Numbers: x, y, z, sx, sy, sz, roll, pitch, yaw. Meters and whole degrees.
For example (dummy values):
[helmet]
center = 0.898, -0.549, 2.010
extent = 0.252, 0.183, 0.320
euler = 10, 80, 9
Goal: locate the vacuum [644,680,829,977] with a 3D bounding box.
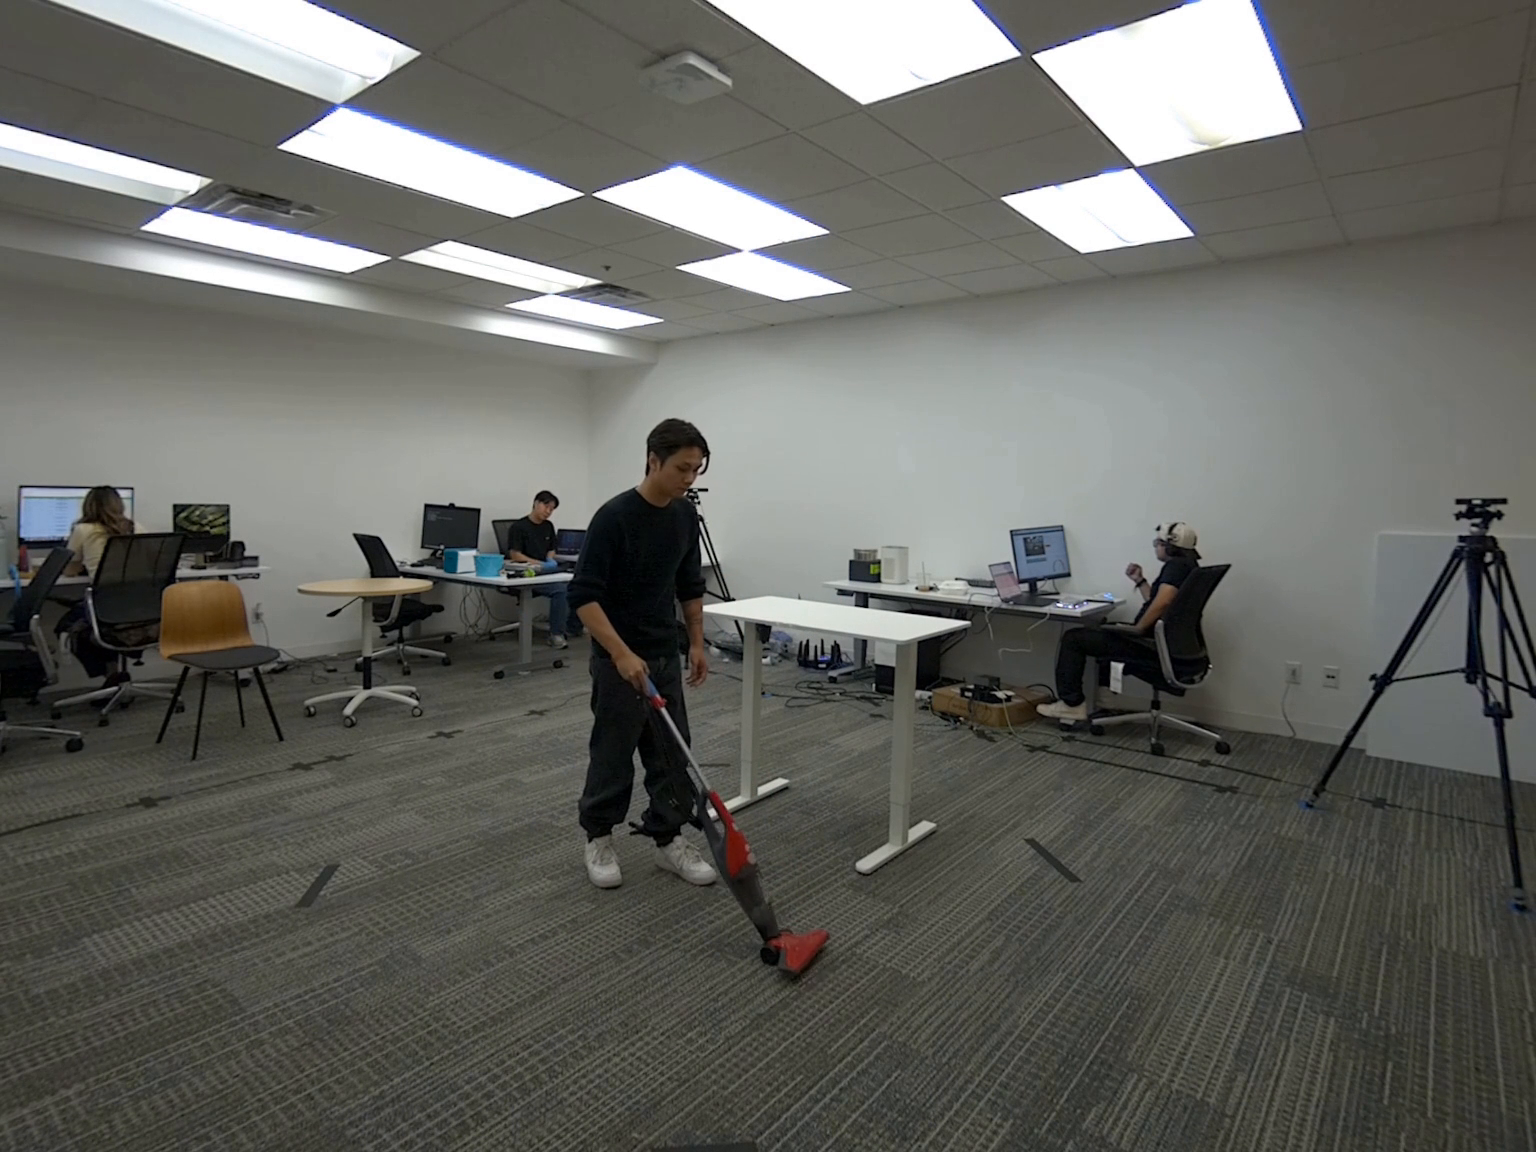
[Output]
[vacuum]
center = -0.211, 0.687, 2.665
extent = 0.144, 1.073, 0.246
euler = -41, -18, 27
